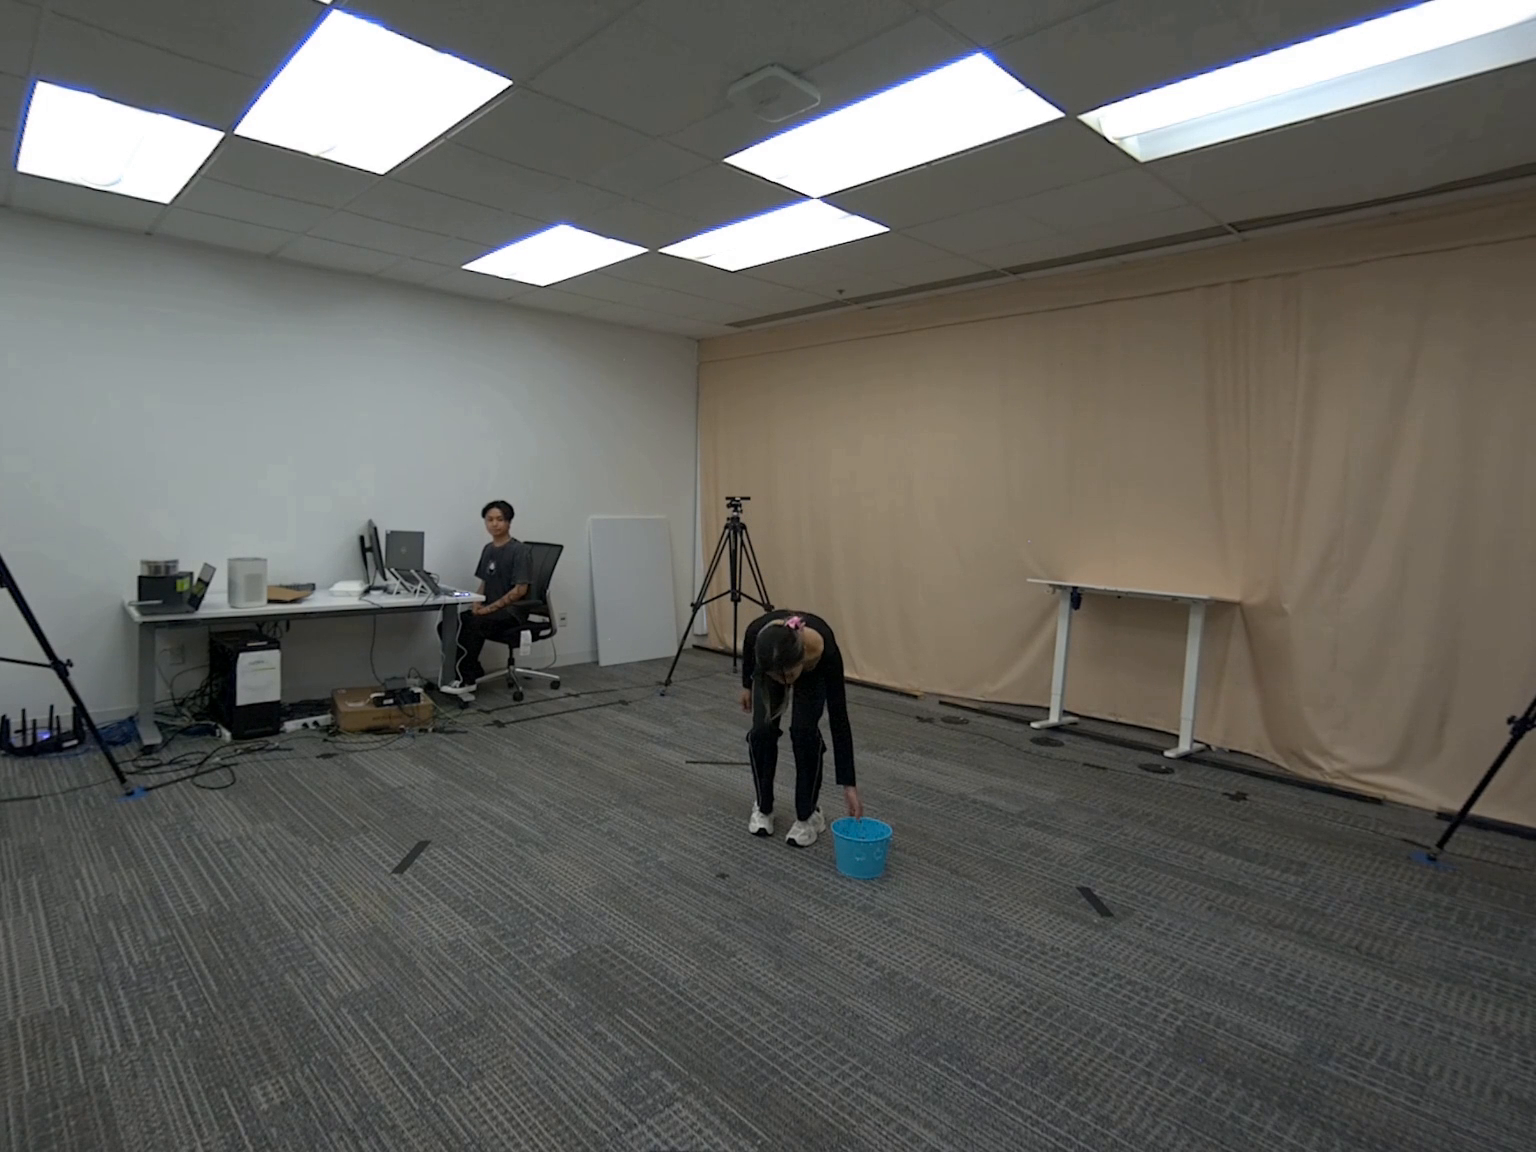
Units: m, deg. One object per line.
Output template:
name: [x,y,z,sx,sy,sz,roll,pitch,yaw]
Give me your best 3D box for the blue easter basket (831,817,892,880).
blue easter basket: [0.349,1.032,3.196,0.243,0.155,0.244,1,5,-1]
